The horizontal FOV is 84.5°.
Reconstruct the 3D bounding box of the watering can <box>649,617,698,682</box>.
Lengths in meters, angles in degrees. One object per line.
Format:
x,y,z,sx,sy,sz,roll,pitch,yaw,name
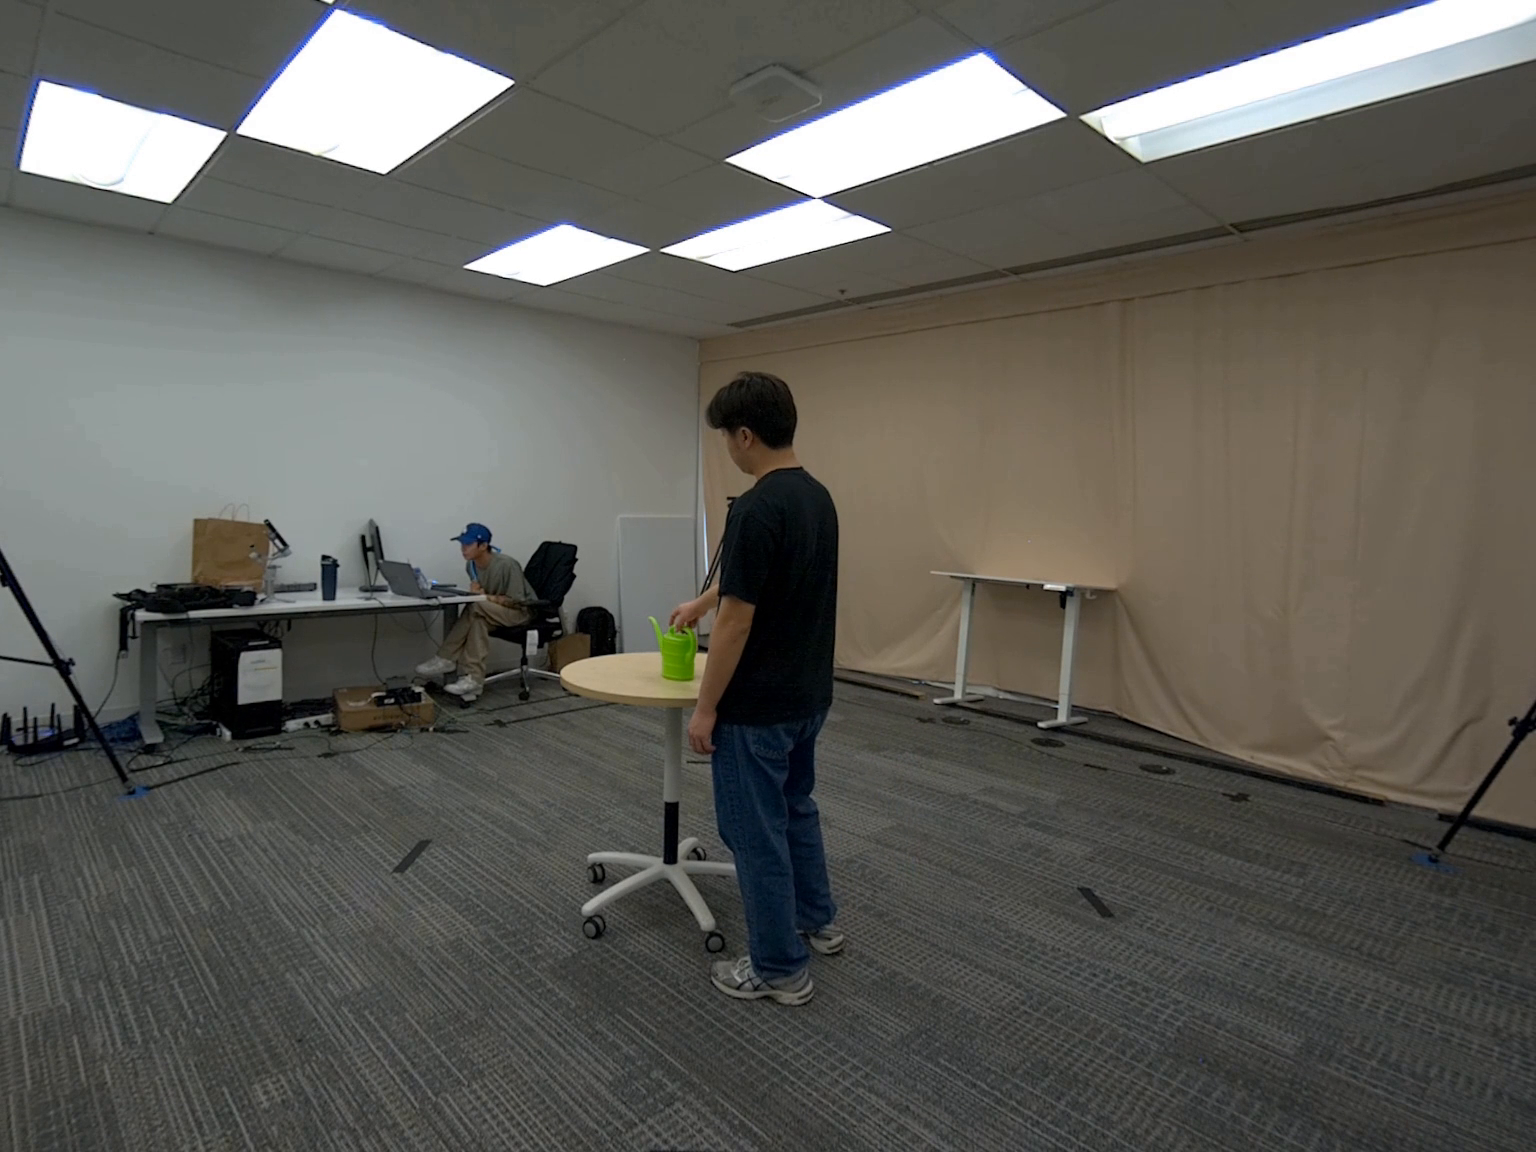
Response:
-0.318,0.246,2.812,0.096,0.176,0.284,1,5,-26,watering can
